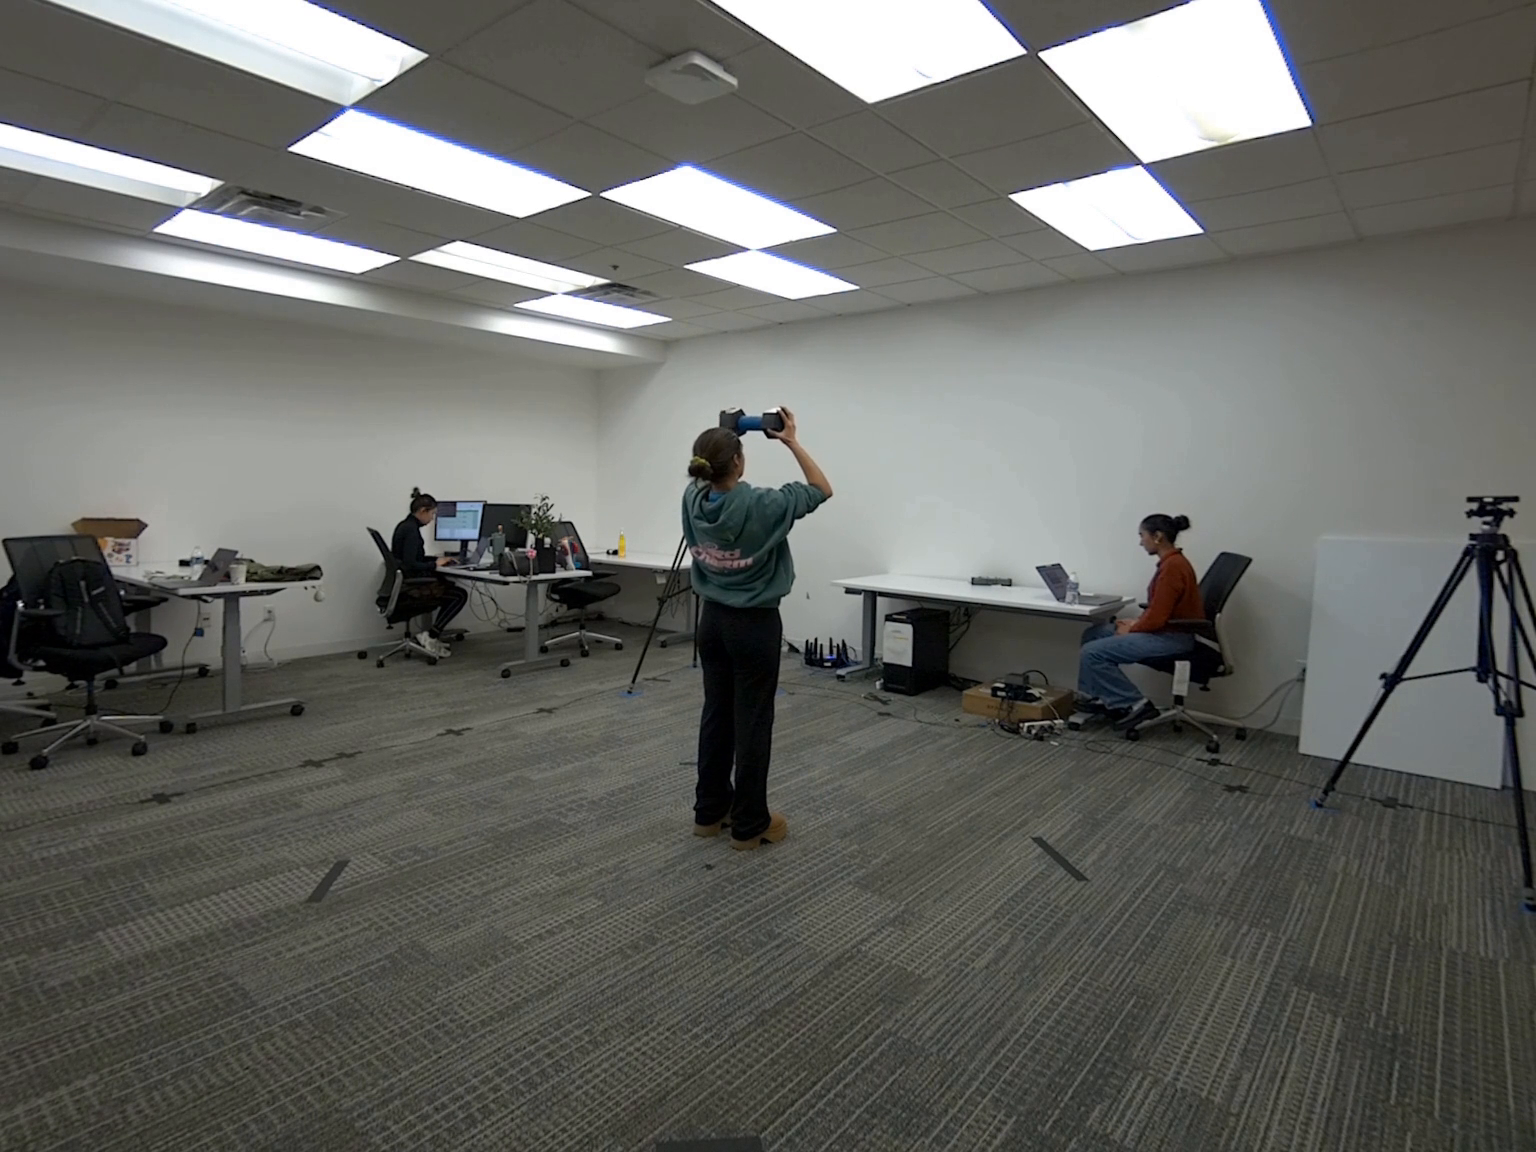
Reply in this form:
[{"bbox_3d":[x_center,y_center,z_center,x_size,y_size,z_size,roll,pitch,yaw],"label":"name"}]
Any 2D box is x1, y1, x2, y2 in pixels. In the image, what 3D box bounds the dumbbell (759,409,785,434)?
[{"bbox_3d":[-0.070,-0.610,3.372,0.303,0.123,0.105,7,-3,37],"label":"dumbbell"}]
